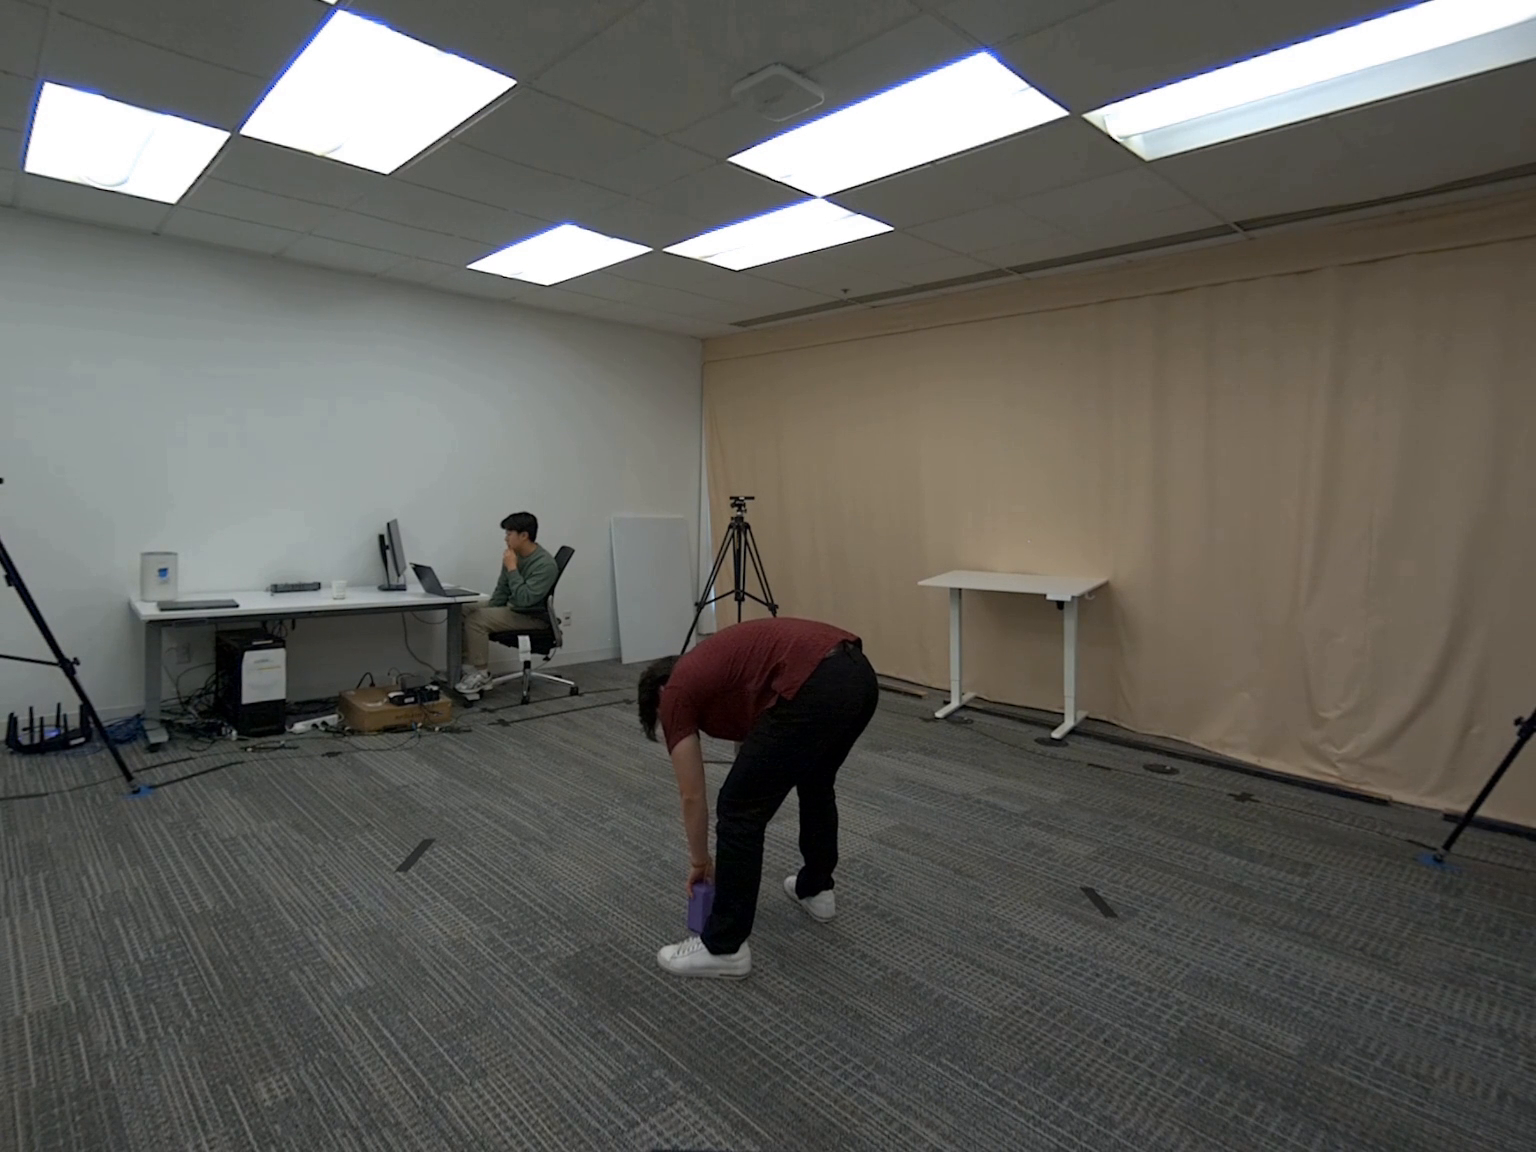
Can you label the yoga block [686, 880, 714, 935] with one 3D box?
[{"bbox_3d":[-0.164,1.065,2.764,0.078,0.148,0.224,11,9,33],"label":"yoga block"}]
